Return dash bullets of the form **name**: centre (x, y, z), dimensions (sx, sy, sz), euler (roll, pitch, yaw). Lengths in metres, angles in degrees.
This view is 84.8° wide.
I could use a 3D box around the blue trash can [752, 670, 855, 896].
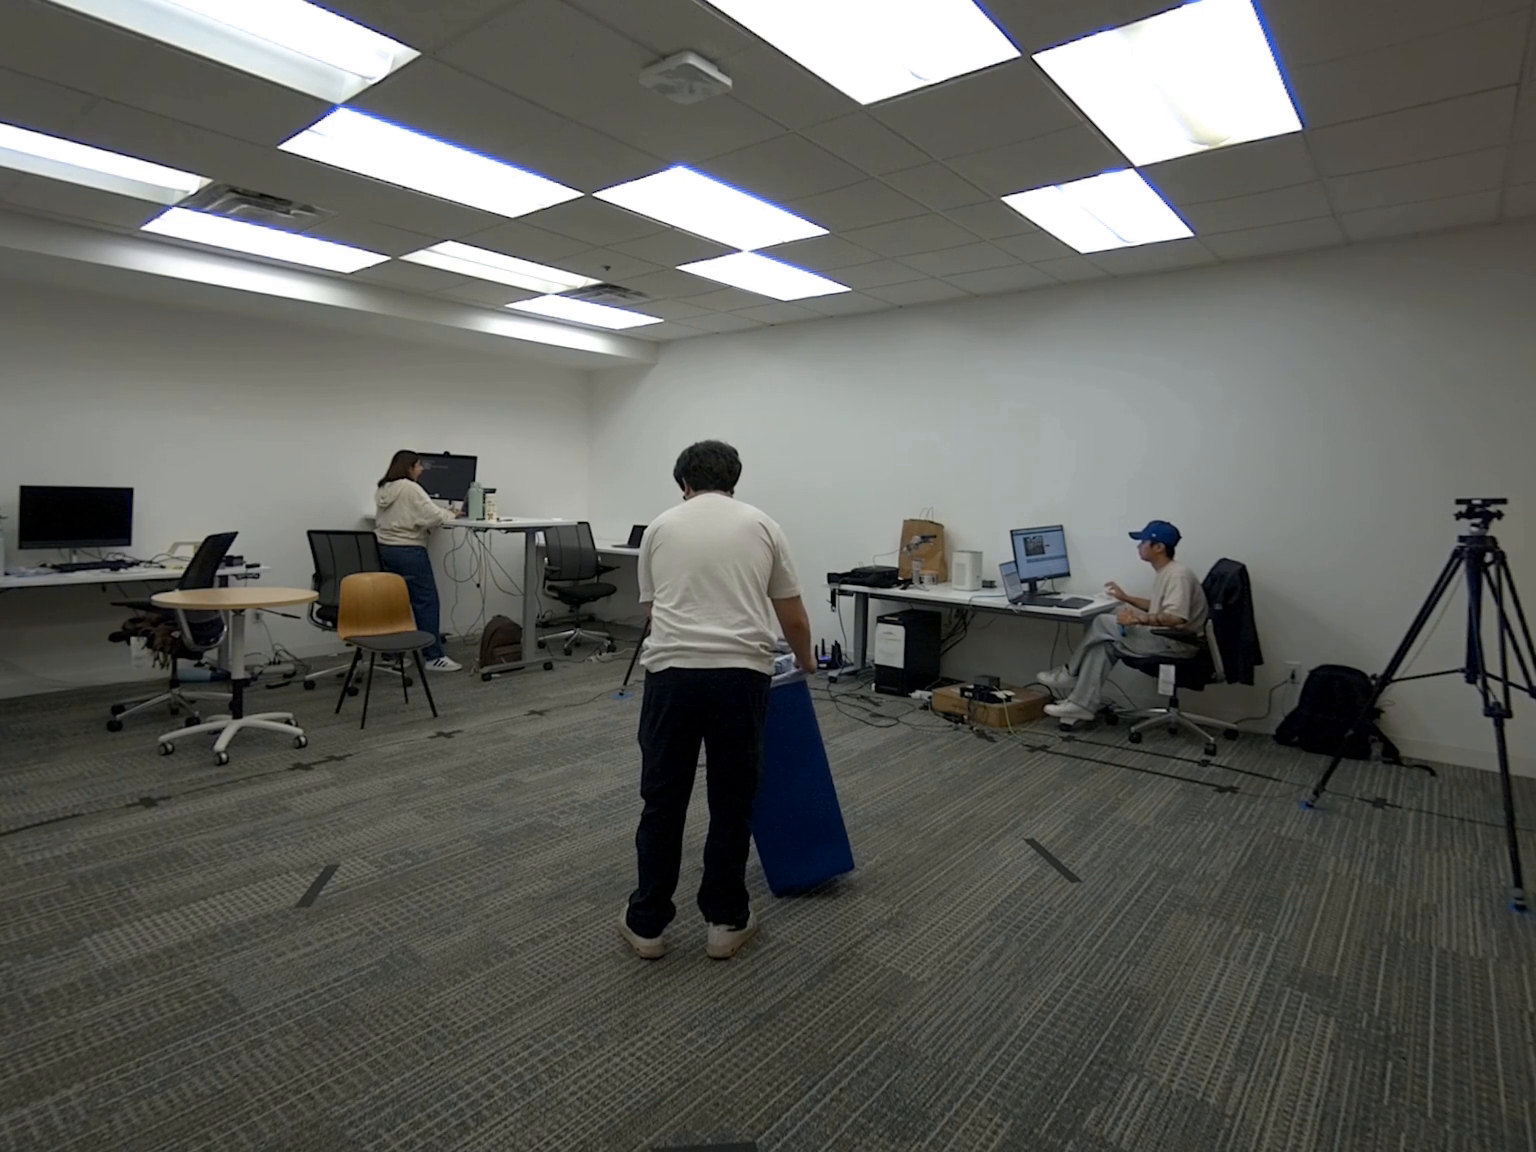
- **blue trash can**: centre (0.030, 0.696, 3.057), dimensions (0.377, 0.714, 0.375), euler (-15, 1, -3)
